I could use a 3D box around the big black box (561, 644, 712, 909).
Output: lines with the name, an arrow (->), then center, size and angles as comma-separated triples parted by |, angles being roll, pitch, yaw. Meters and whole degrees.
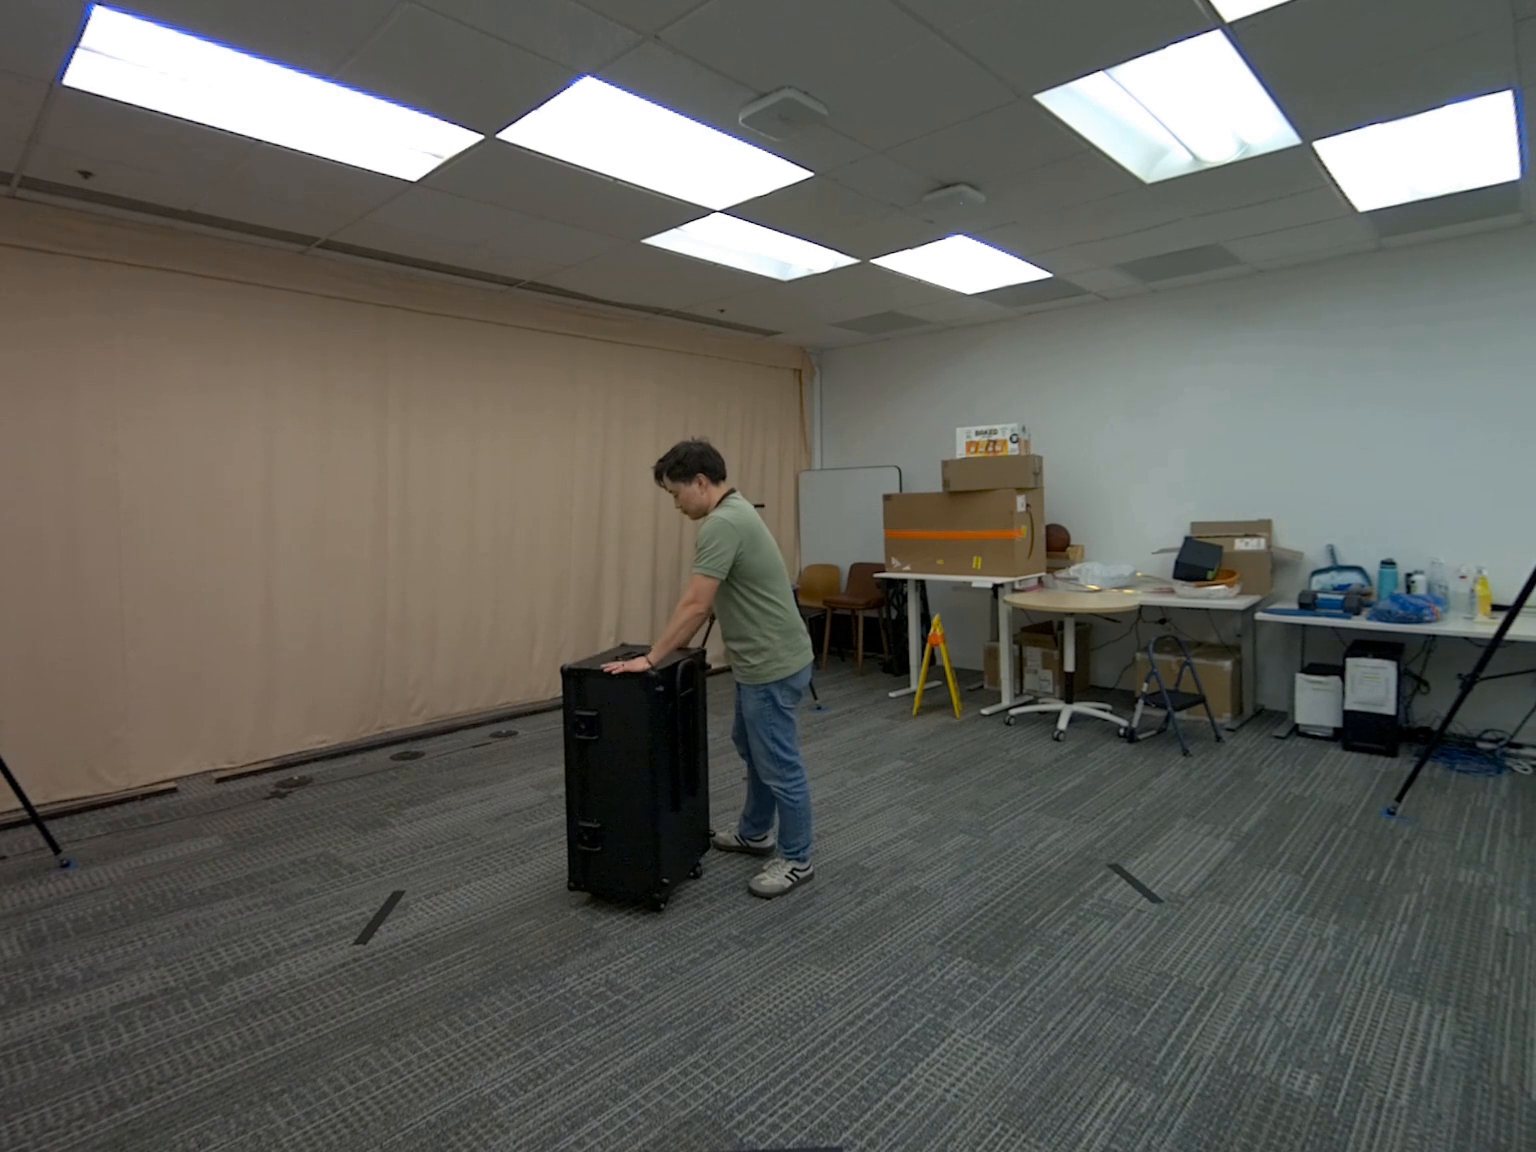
big black box -> -0.456, 0.720, 3.069 | 0.404, 0.860, 0.512 | 0, 3, 17
